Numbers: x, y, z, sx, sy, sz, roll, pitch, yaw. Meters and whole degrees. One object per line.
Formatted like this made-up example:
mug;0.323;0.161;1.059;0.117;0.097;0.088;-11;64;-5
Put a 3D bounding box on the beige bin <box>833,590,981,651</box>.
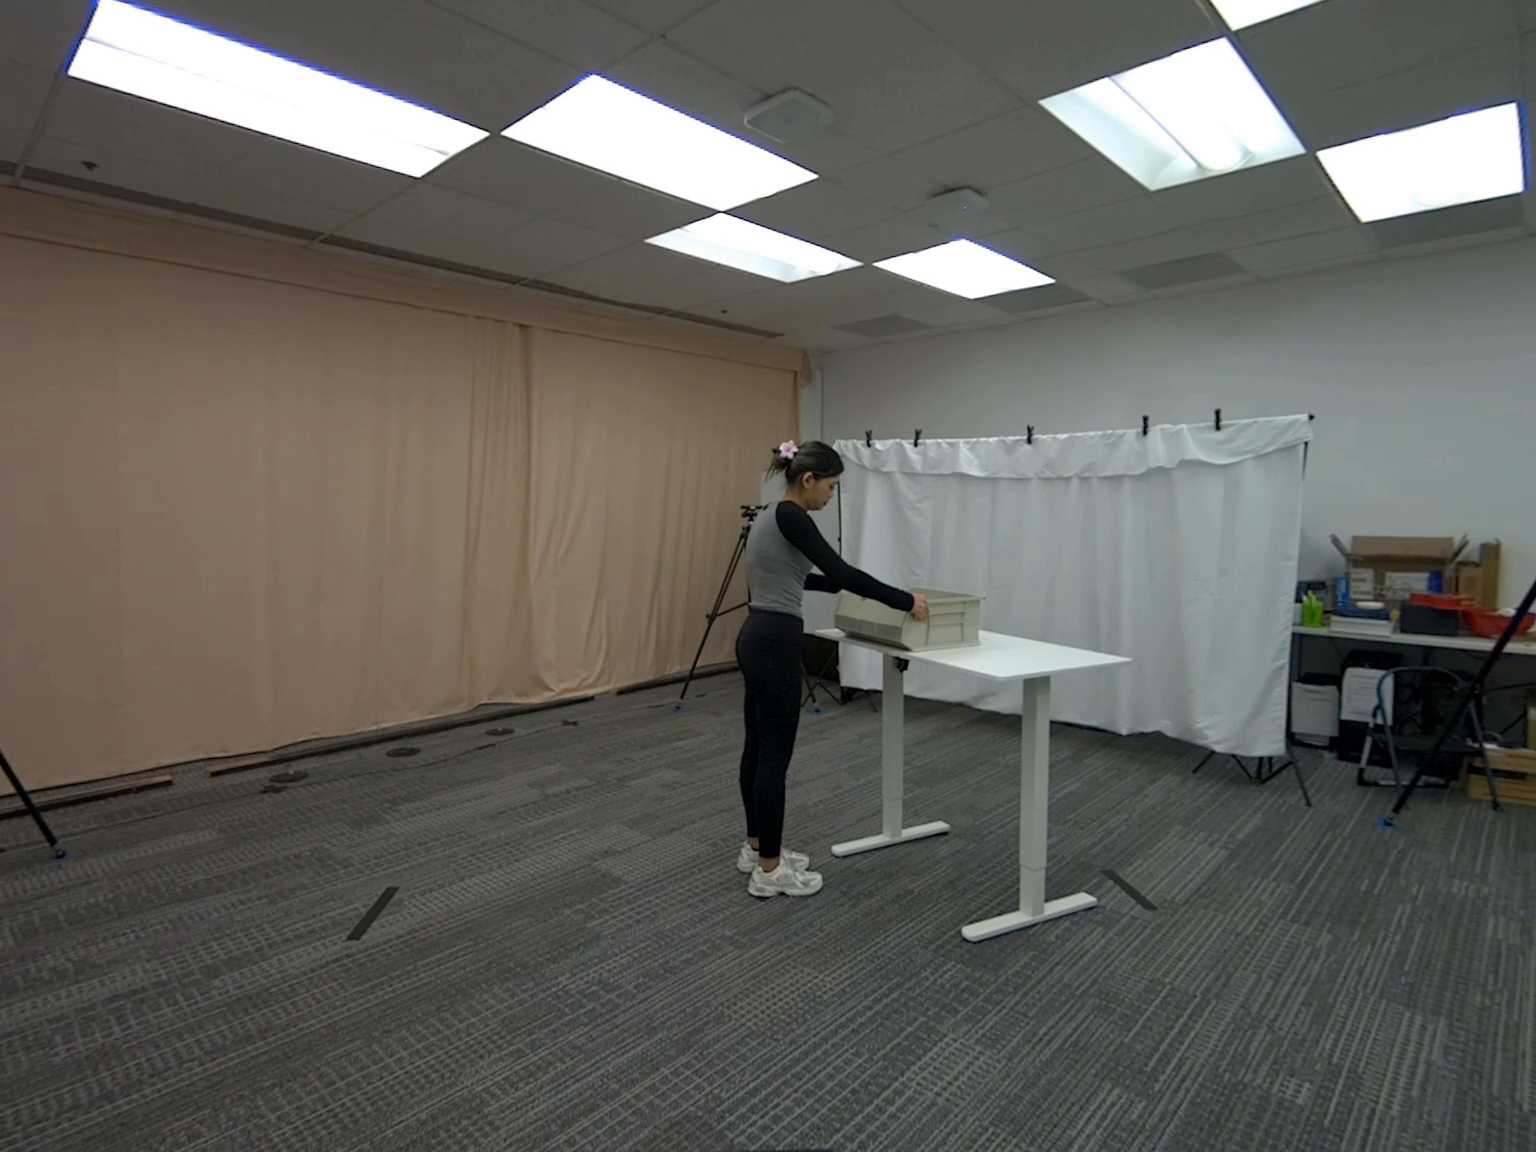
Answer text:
beige bin;0.519;0.154;3.158;0.368;0.189;0.434;1;3;-27
